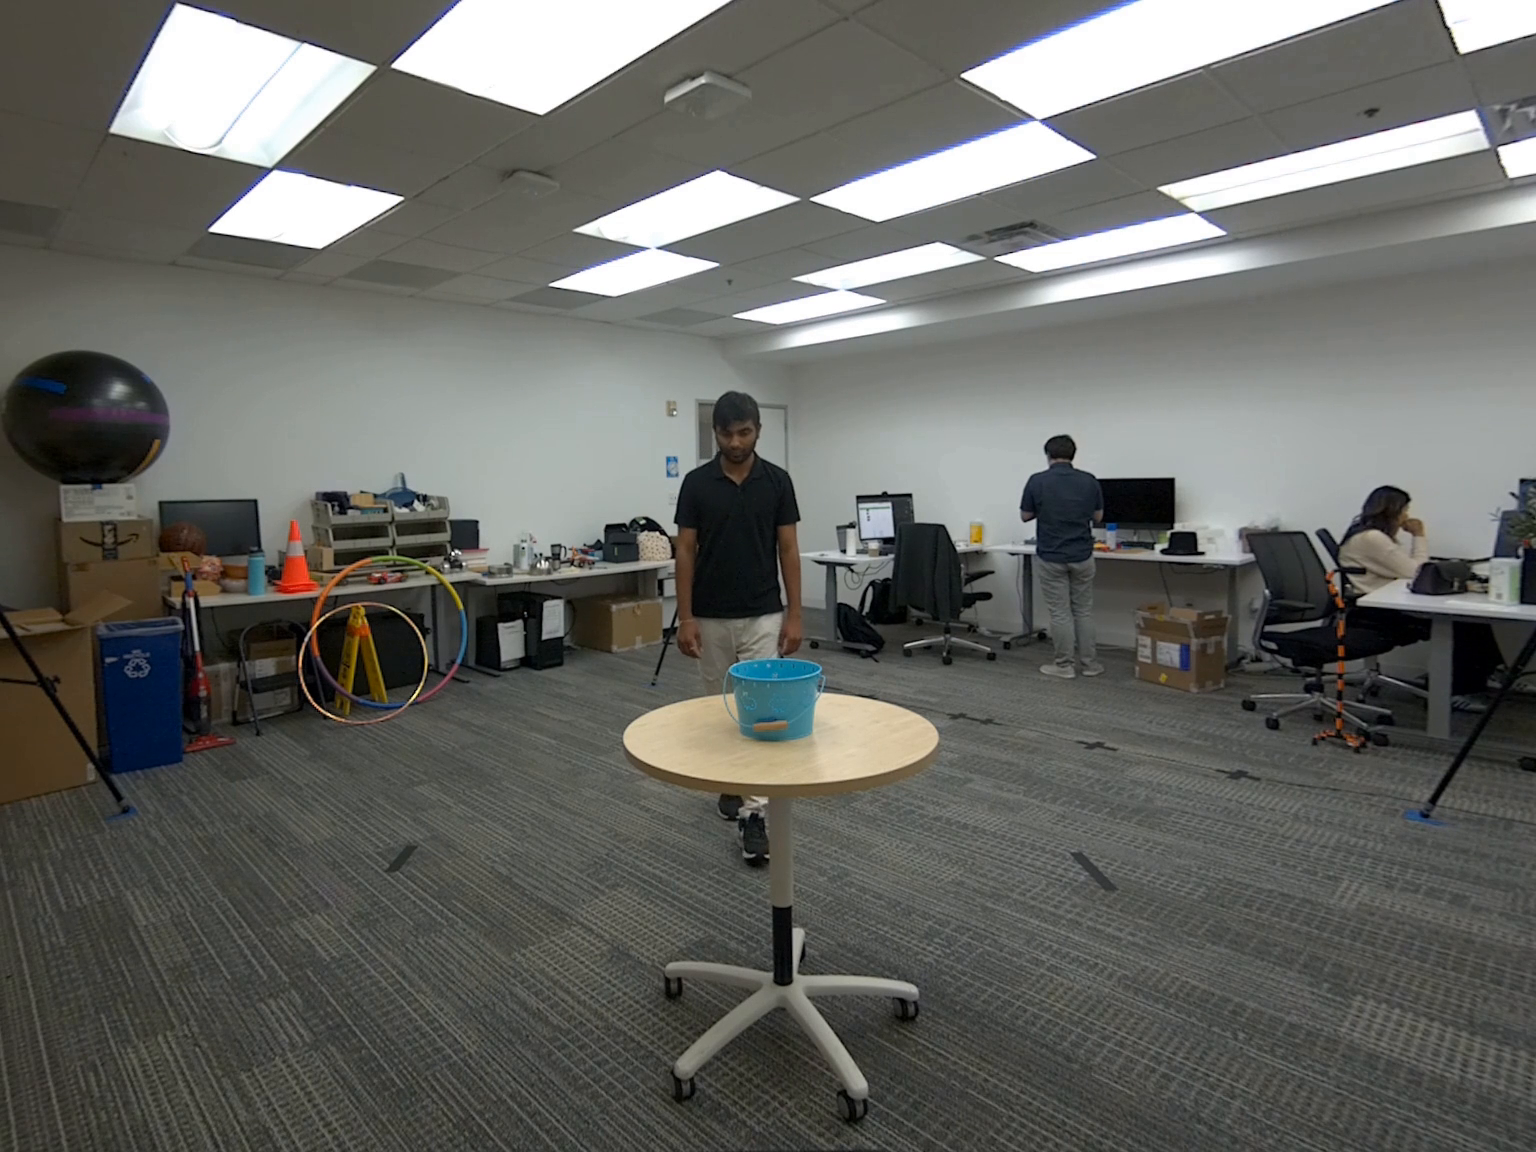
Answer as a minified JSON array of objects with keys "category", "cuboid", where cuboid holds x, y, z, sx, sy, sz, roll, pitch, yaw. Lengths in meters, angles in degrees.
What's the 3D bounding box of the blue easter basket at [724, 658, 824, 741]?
[{"category":"blue easter basket","cuboid":[0.018,0.307,2.097,0.243,0.155,0.244,0,4,-2]}]
